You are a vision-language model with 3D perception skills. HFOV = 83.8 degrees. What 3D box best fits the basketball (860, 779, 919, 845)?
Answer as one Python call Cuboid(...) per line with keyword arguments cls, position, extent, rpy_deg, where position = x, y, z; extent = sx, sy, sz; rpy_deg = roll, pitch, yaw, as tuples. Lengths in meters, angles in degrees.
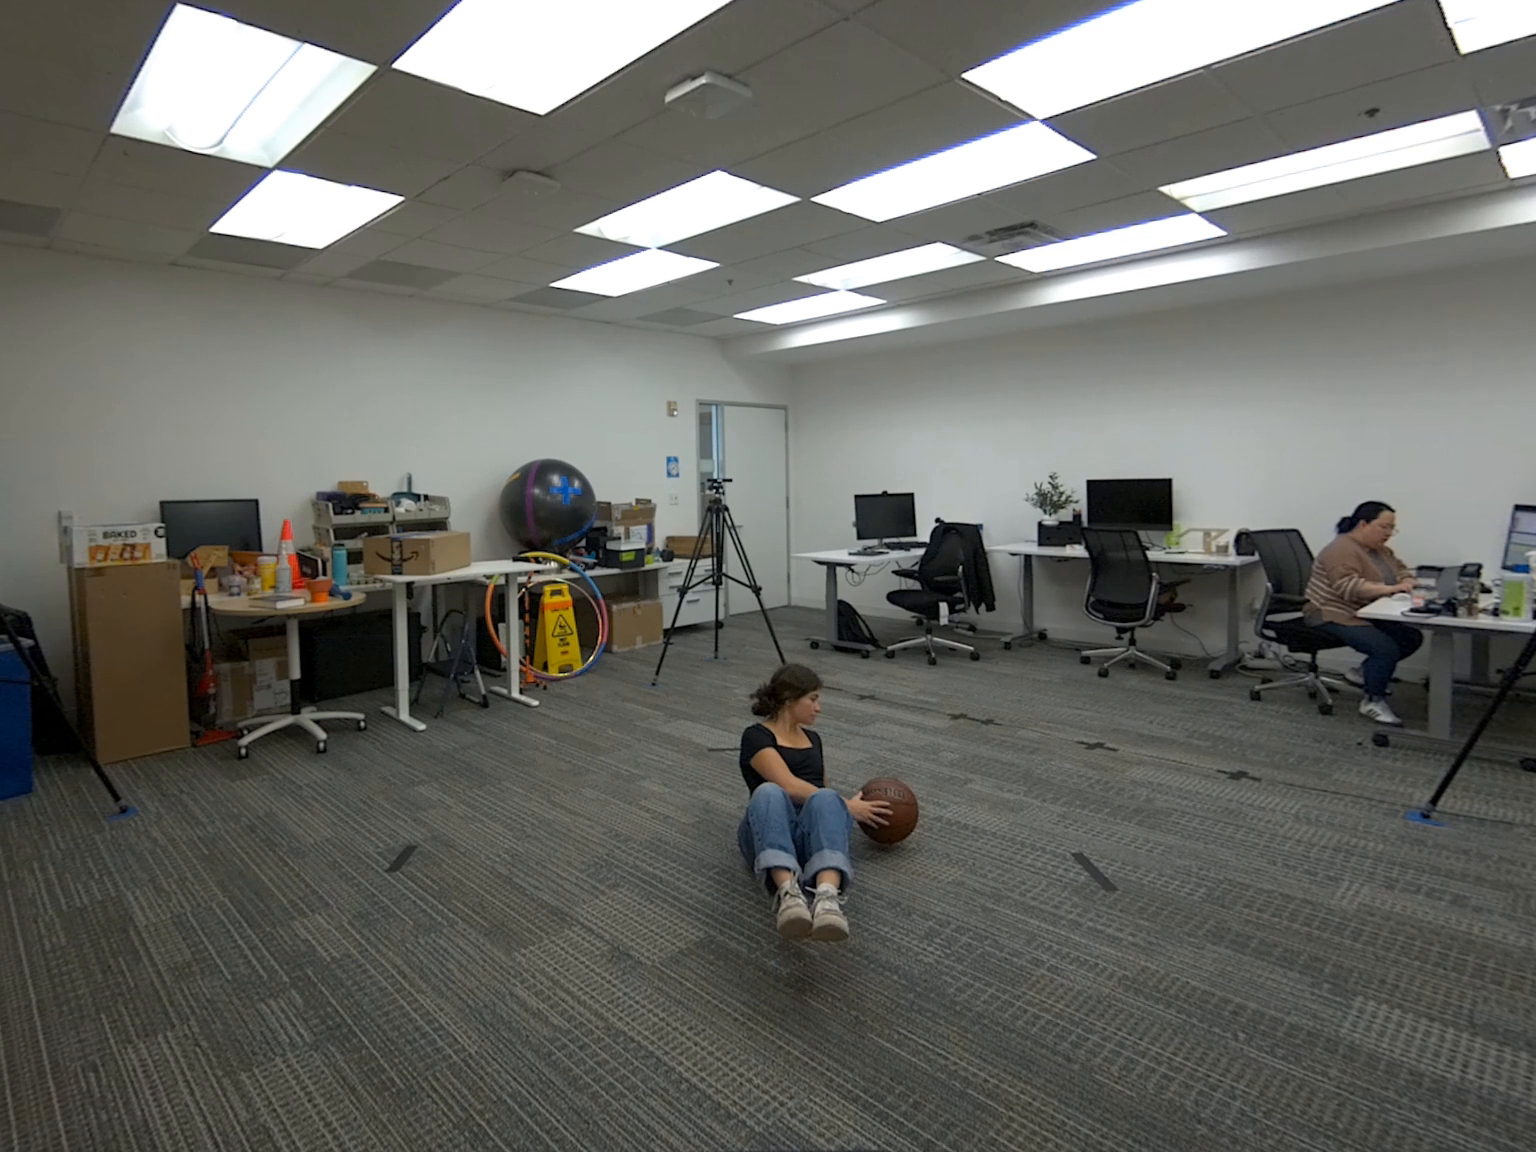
Cuboid(cls="basketball", position=(0.437, 0.859, 3.198), extent=(0.236, 0.235, 0.237), rpy_deg=(-1, 5, -2))
